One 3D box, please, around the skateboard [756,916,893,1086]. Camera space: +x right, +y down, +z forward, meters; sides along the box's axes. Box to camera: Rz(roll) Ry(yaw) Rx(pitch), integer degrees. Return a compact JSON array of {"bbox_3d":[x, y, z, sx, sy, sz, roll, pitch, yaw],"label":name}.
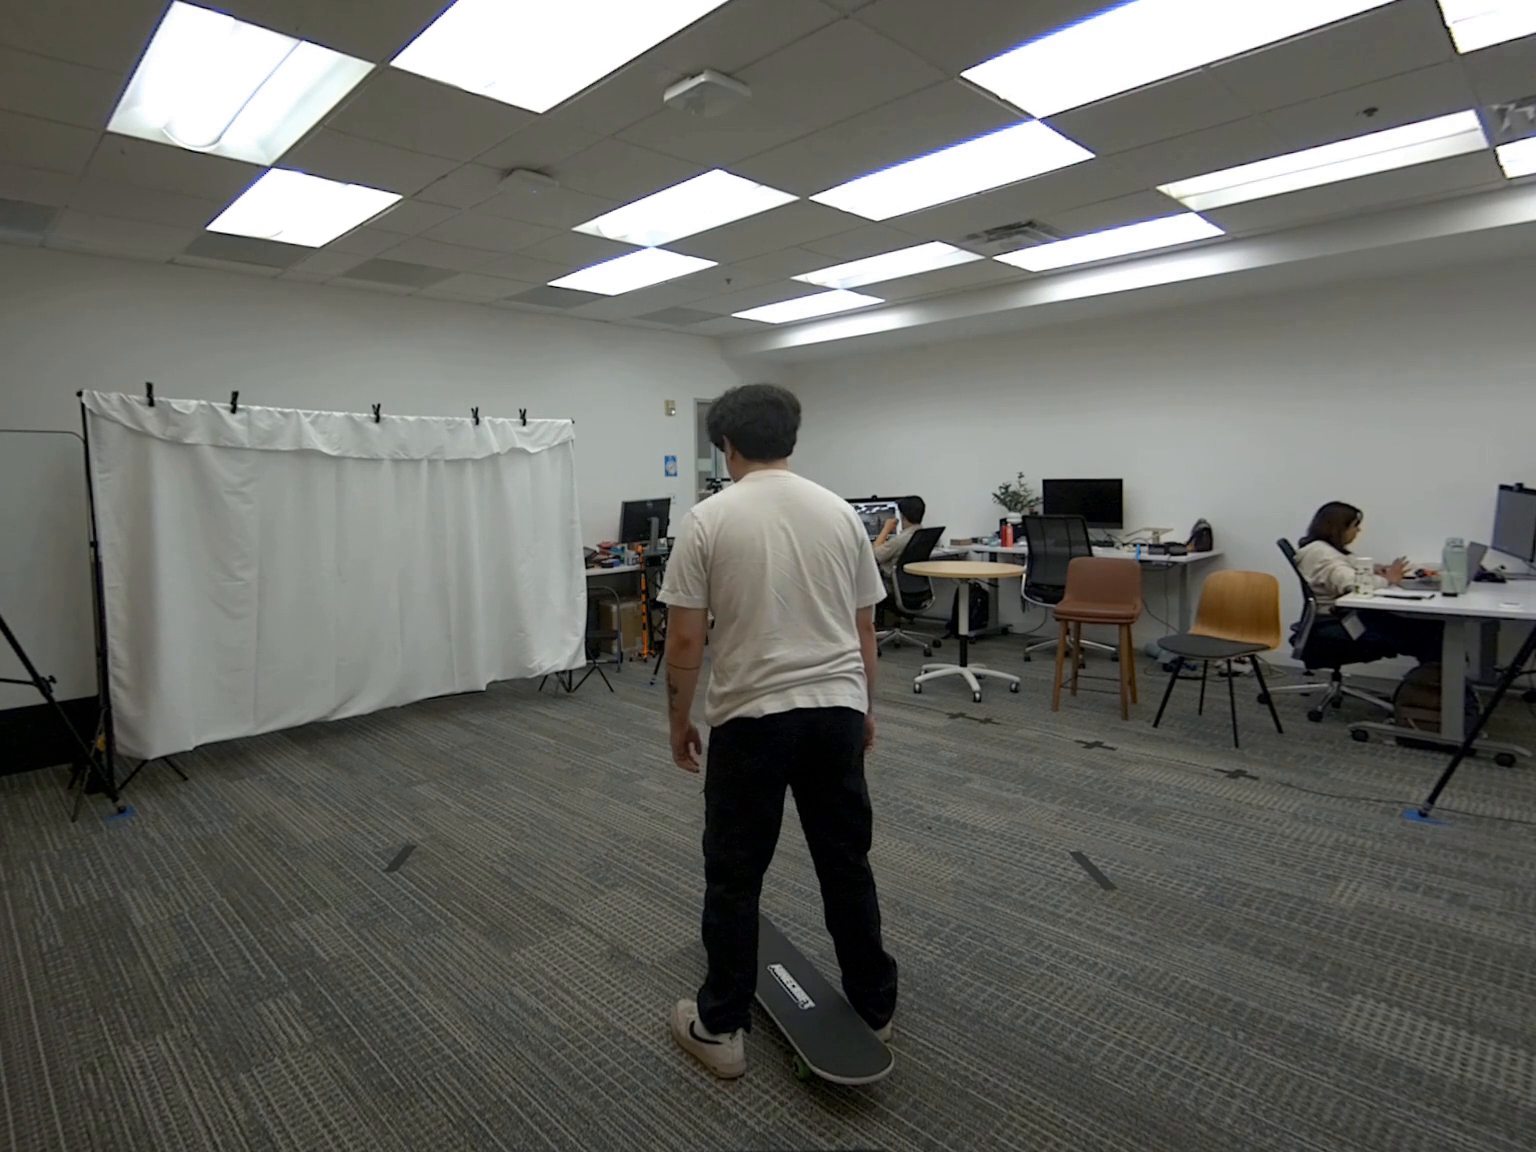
[{"bbox_3d":[0.066,1.092,2.207,0.189,0.110,0.805,-4,7,-24],"label":"skateboard"}]
